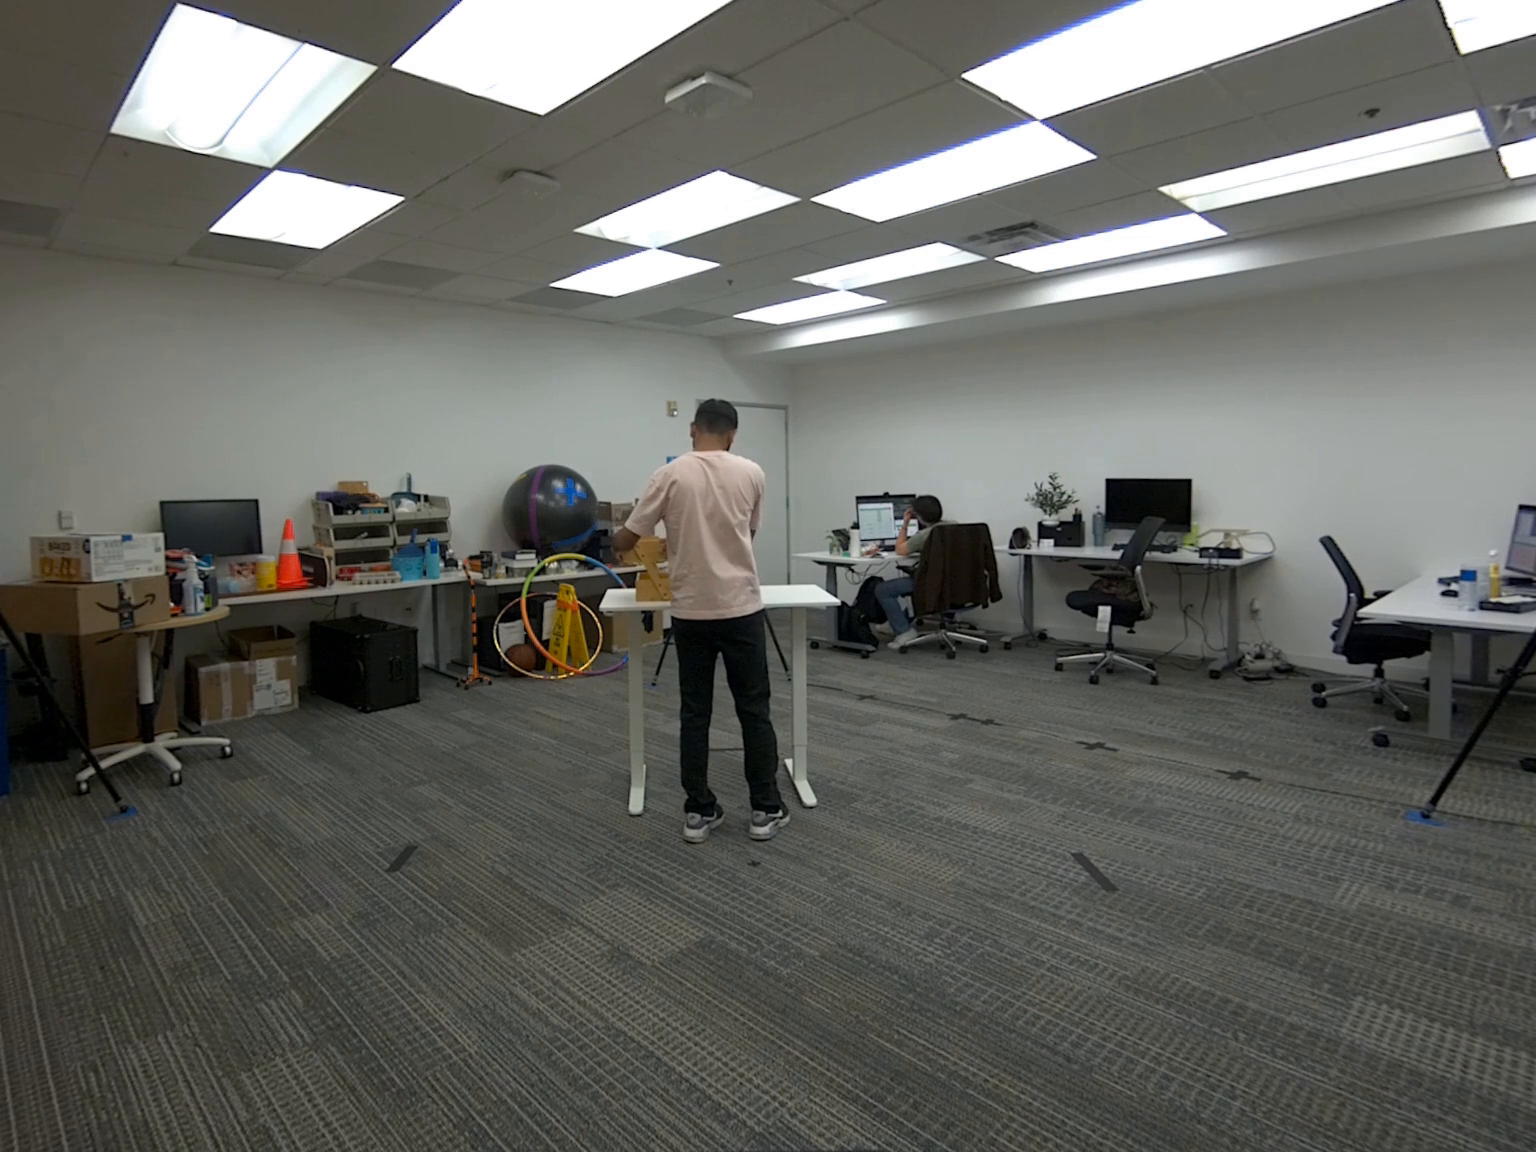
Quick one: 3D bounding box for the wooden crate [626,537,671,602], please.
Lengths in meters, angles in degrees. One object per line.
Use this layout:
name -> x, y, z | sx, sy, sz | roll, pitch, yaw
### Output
wooden crate -> -0.483, -0.040, 3.814 | 0.300, 0.272, 0.328 | -2, 6, -7
